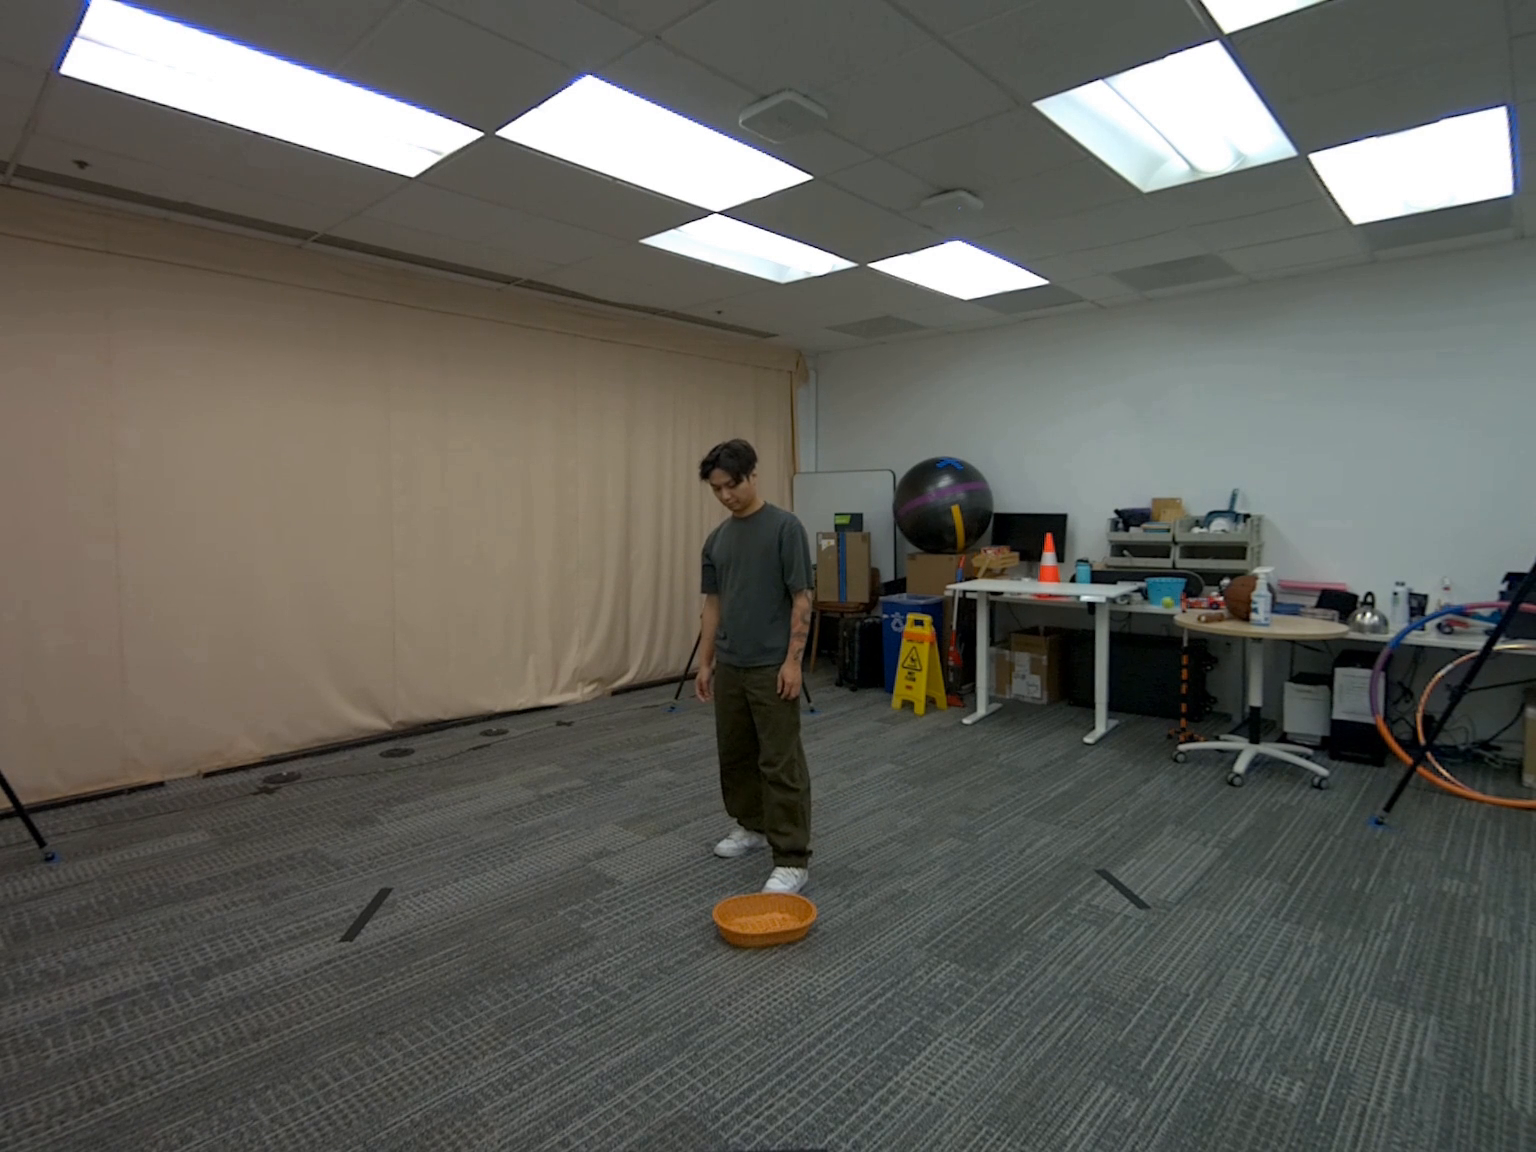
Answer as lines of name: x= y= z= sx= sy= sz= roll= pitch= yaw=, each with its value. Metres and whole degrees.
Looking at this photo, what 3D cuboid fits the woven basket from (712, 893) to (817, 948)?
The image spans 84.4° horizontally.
woven basket: x=-0.010 y=1.120 z=2.751 sx=0.344 sy=0.073 sz=0.257 roll=-2 pitch=5 yaw=-17
